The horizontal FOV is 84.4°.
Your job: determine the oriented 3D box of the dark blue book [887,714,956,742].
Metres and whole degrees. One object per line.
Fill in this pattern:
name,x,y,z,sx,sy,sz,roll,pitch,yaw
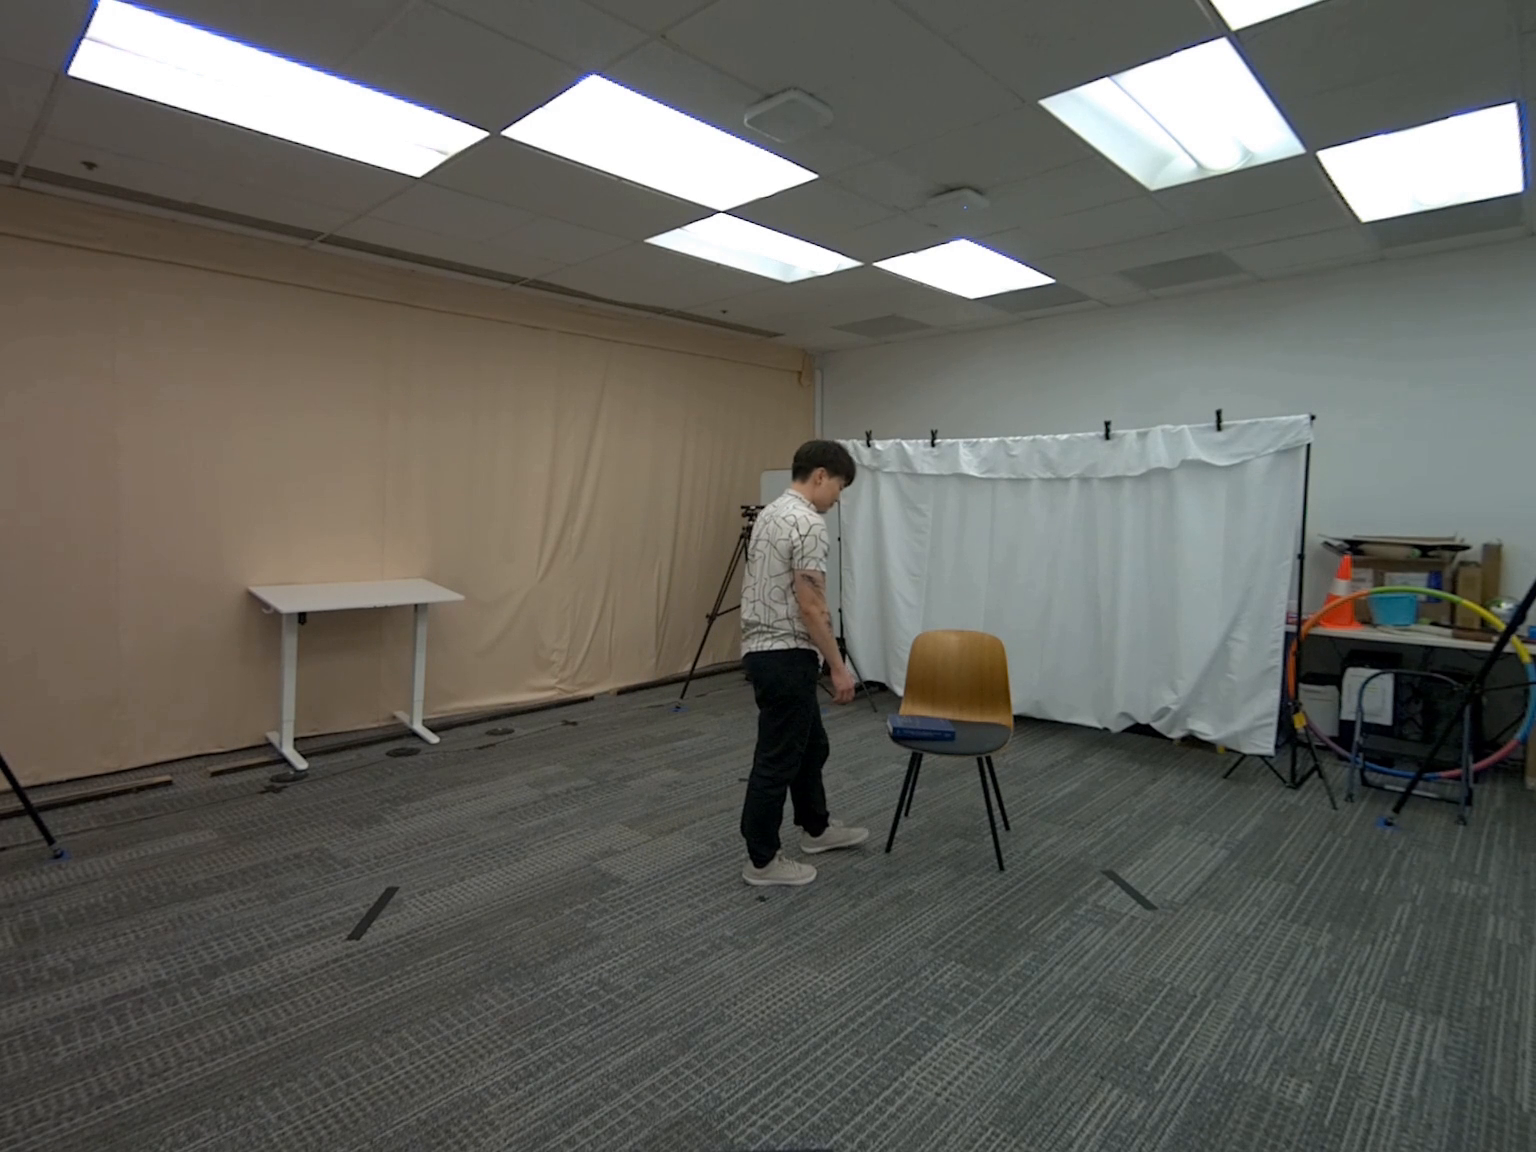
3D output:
dark blue book,0.610,0.603,3.339,0.246,0.045,0.163,3,7,2
